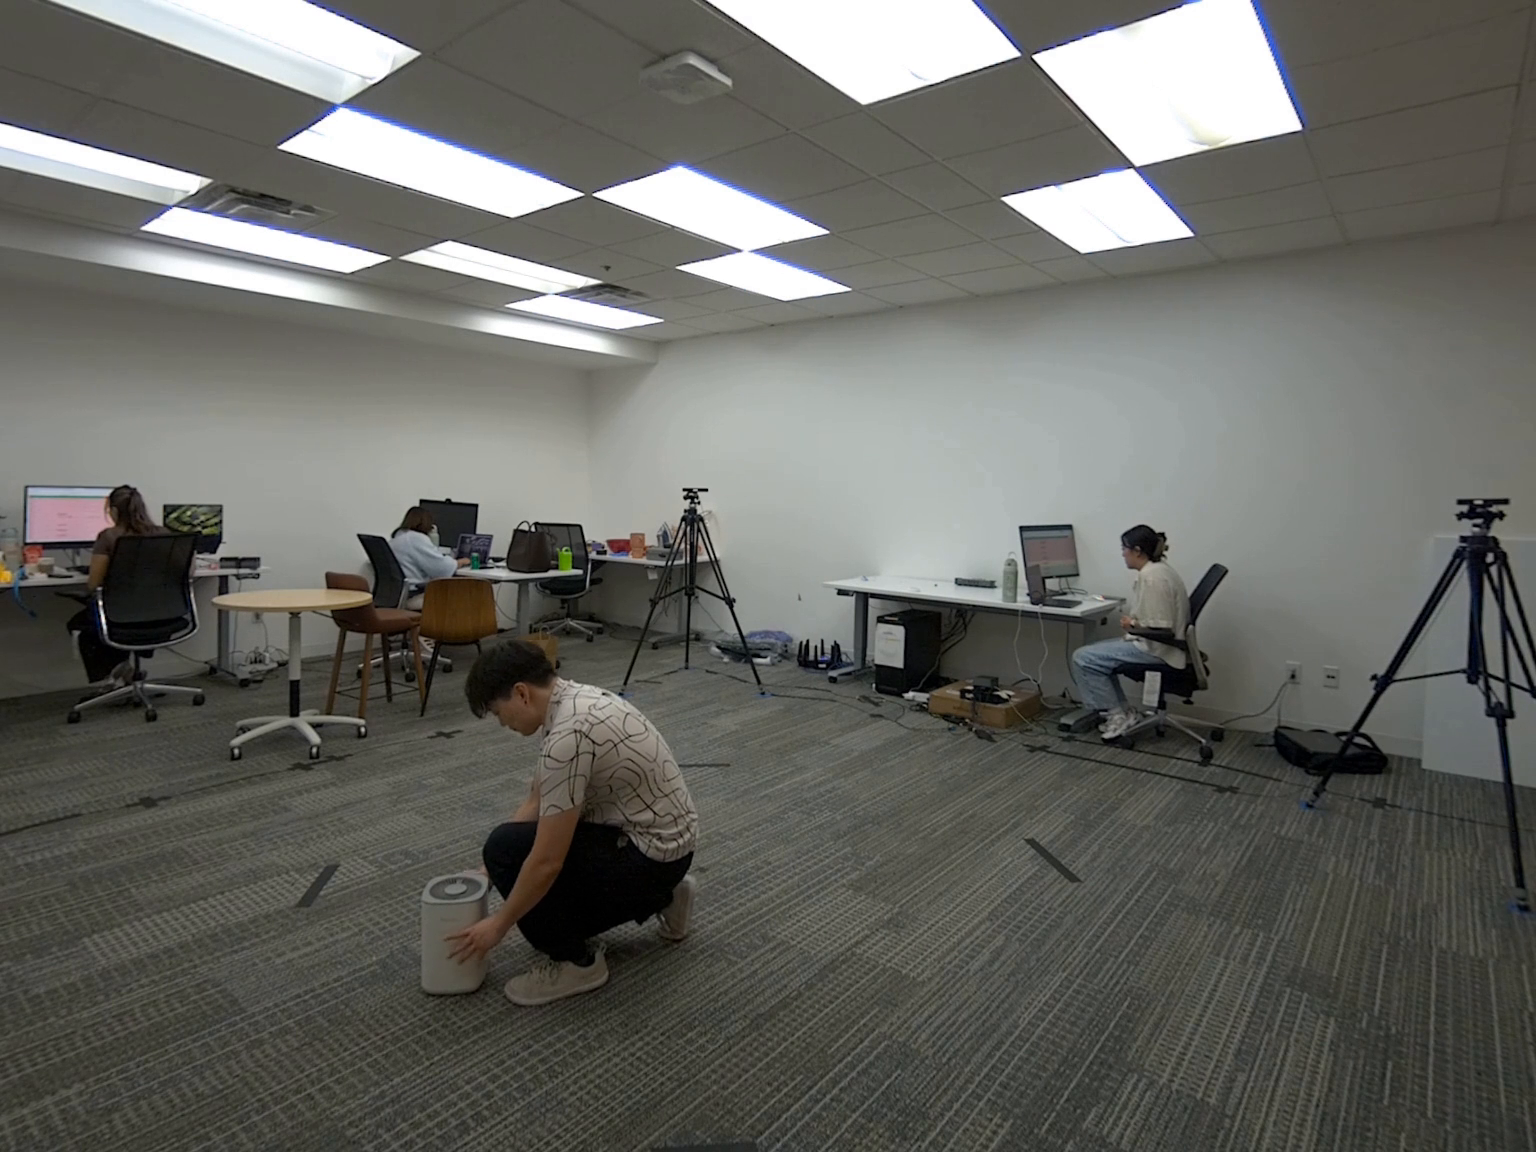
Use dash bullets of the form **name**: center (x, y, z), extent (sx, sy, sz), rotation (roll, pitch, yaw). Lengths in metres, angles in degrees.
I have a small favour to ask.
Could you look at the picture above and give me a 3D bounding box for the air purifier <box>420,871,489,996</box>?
- **air purifier**: center (-0.884, 1.000, 2.381), extent (0.170, 0.264, 0.173), rotation (0, 4, -9)
